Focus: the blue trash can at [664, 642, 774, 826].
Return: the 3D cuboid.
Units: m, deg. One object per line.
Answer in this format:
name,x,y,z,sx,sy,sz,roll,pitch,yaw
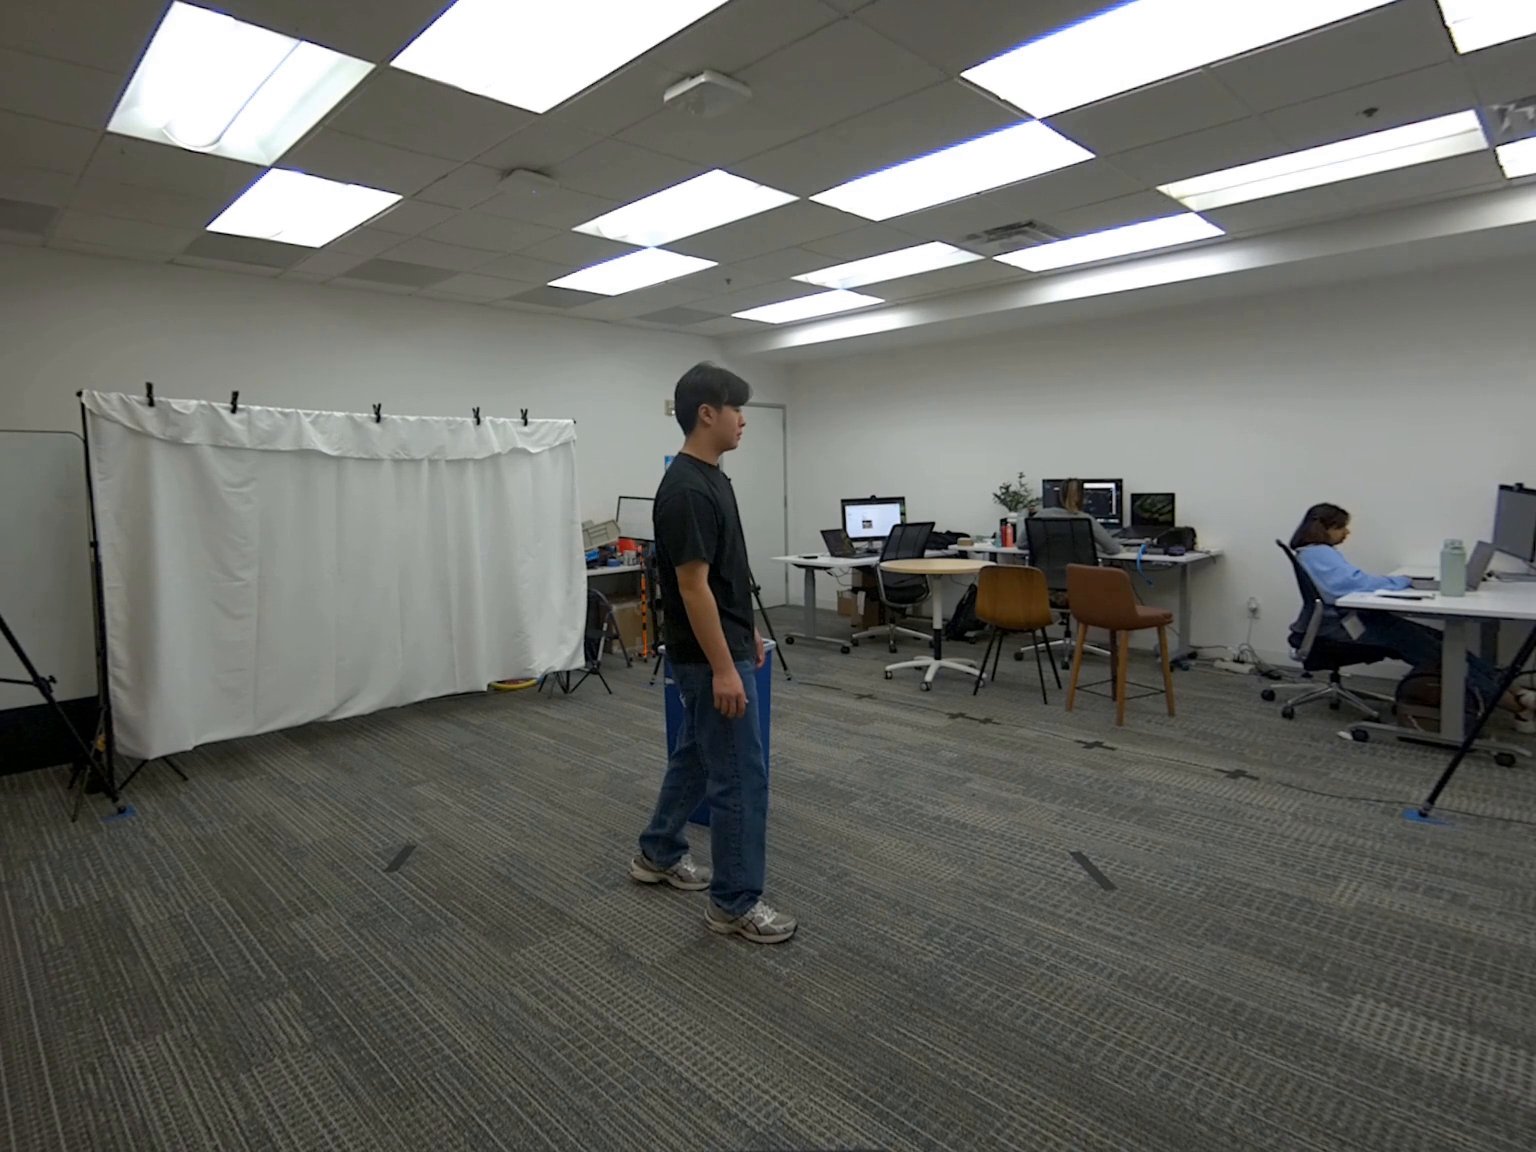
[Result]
blue trash can,-0.192,0.633,3.563,0.384,0.711,0.369,1,4,31
